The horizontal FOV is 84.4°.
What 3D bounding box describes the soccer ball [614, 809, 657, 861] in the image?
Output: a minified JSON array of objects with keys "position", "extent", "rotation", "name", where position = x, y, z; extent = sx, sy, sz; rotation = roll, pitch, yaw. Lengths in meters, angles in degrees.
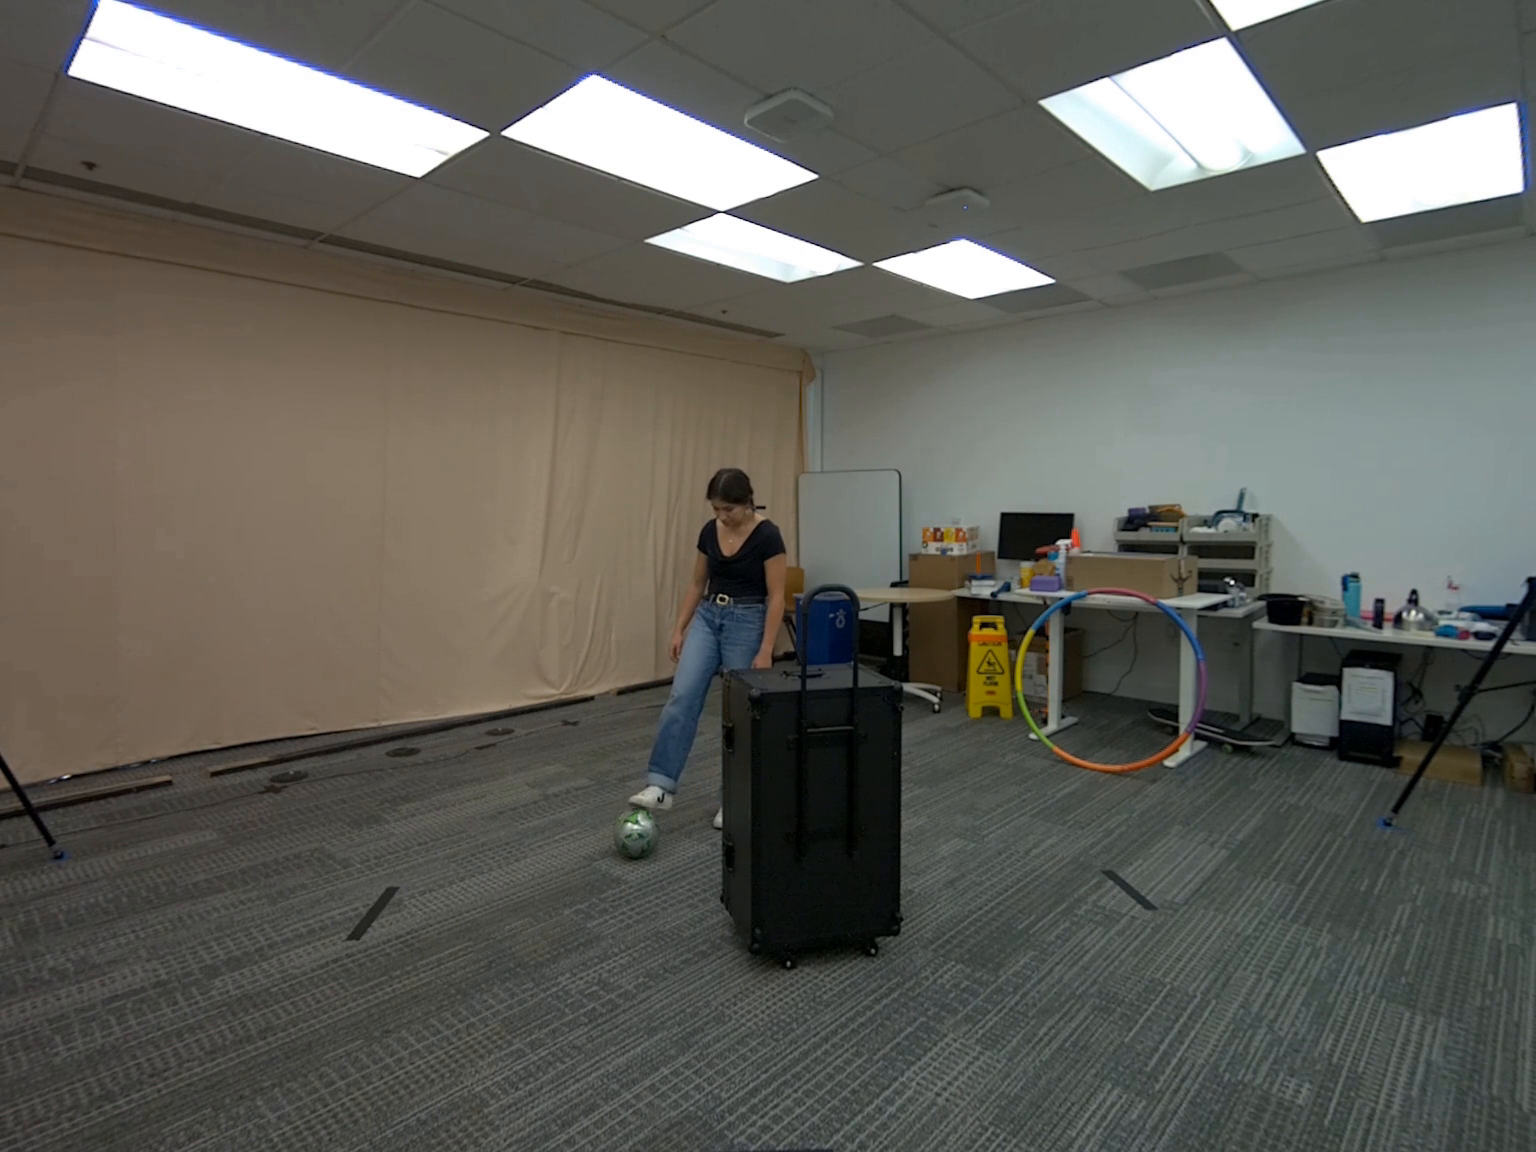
[{"position":[-0.521,1.026,3.358],"extent":[0.187,0.187,0.188],"rotation":[0,4,-2],"name":"soccer ball"}]
